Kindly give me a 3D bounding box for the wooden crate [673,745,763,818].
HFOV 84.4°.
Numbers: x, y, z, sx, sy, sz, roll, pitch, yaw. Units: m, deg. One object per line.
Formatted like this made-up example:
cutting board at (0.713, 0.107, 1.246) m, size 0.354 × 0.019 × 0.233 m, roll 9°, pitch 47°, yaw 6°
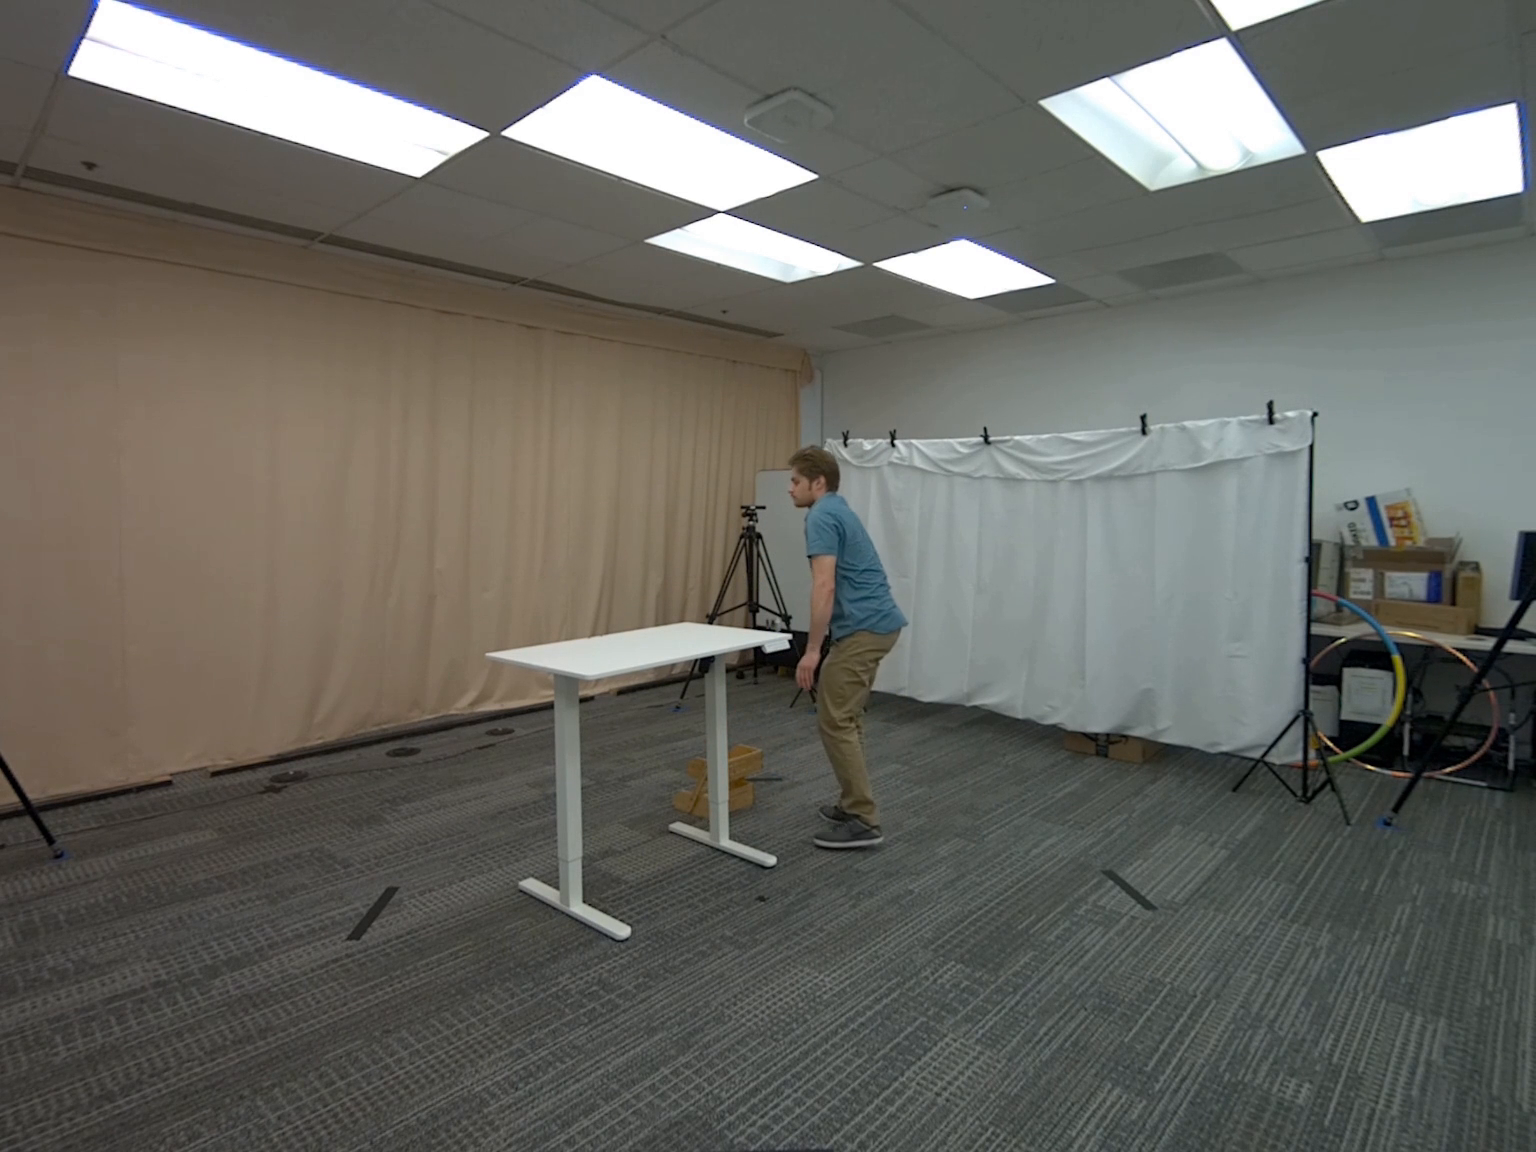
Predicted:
wooden crate at (-0.236, 0.934, 3.916) m, size 0.312 × 0.272 × 0.314 m, roll 4°, pitch 6°, yaw 41°
